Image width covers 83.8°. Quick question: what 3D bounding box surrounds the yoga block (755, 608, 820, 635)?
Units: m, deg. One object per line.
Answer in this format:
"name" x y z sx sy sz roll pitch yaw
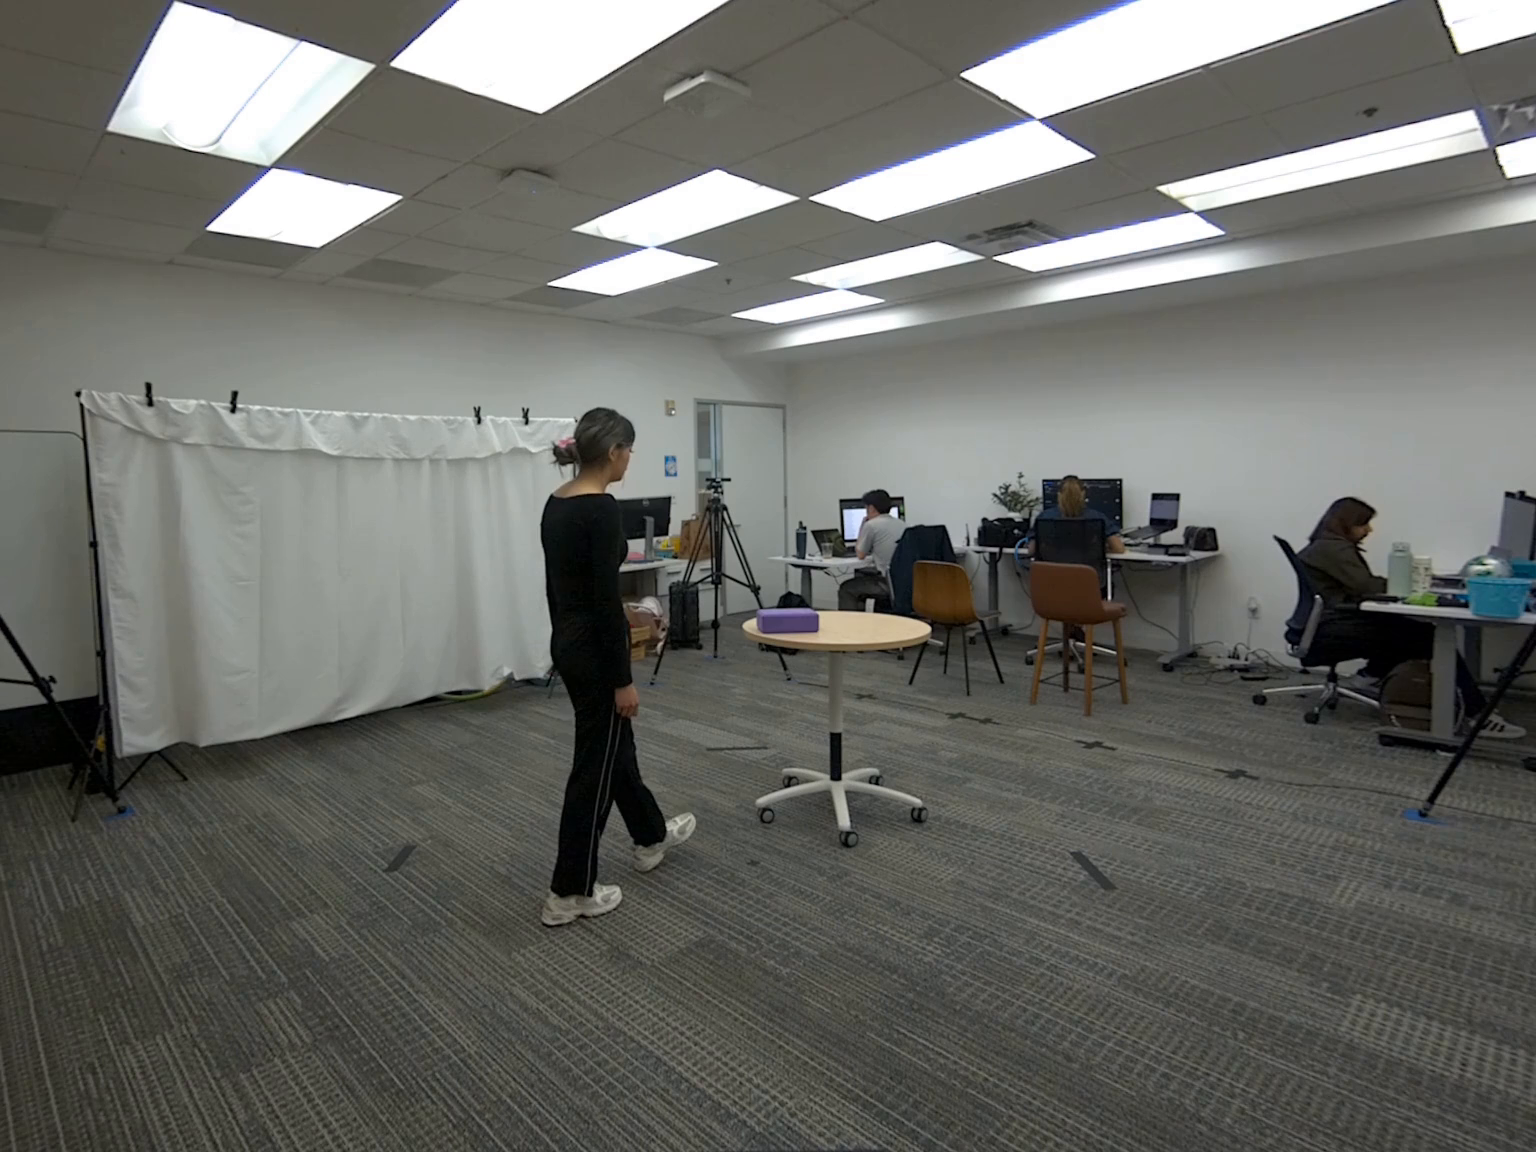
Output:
"yoga block" 0.088 0.179 3.423 0.229 0.076 0.150 -1 5 -3
